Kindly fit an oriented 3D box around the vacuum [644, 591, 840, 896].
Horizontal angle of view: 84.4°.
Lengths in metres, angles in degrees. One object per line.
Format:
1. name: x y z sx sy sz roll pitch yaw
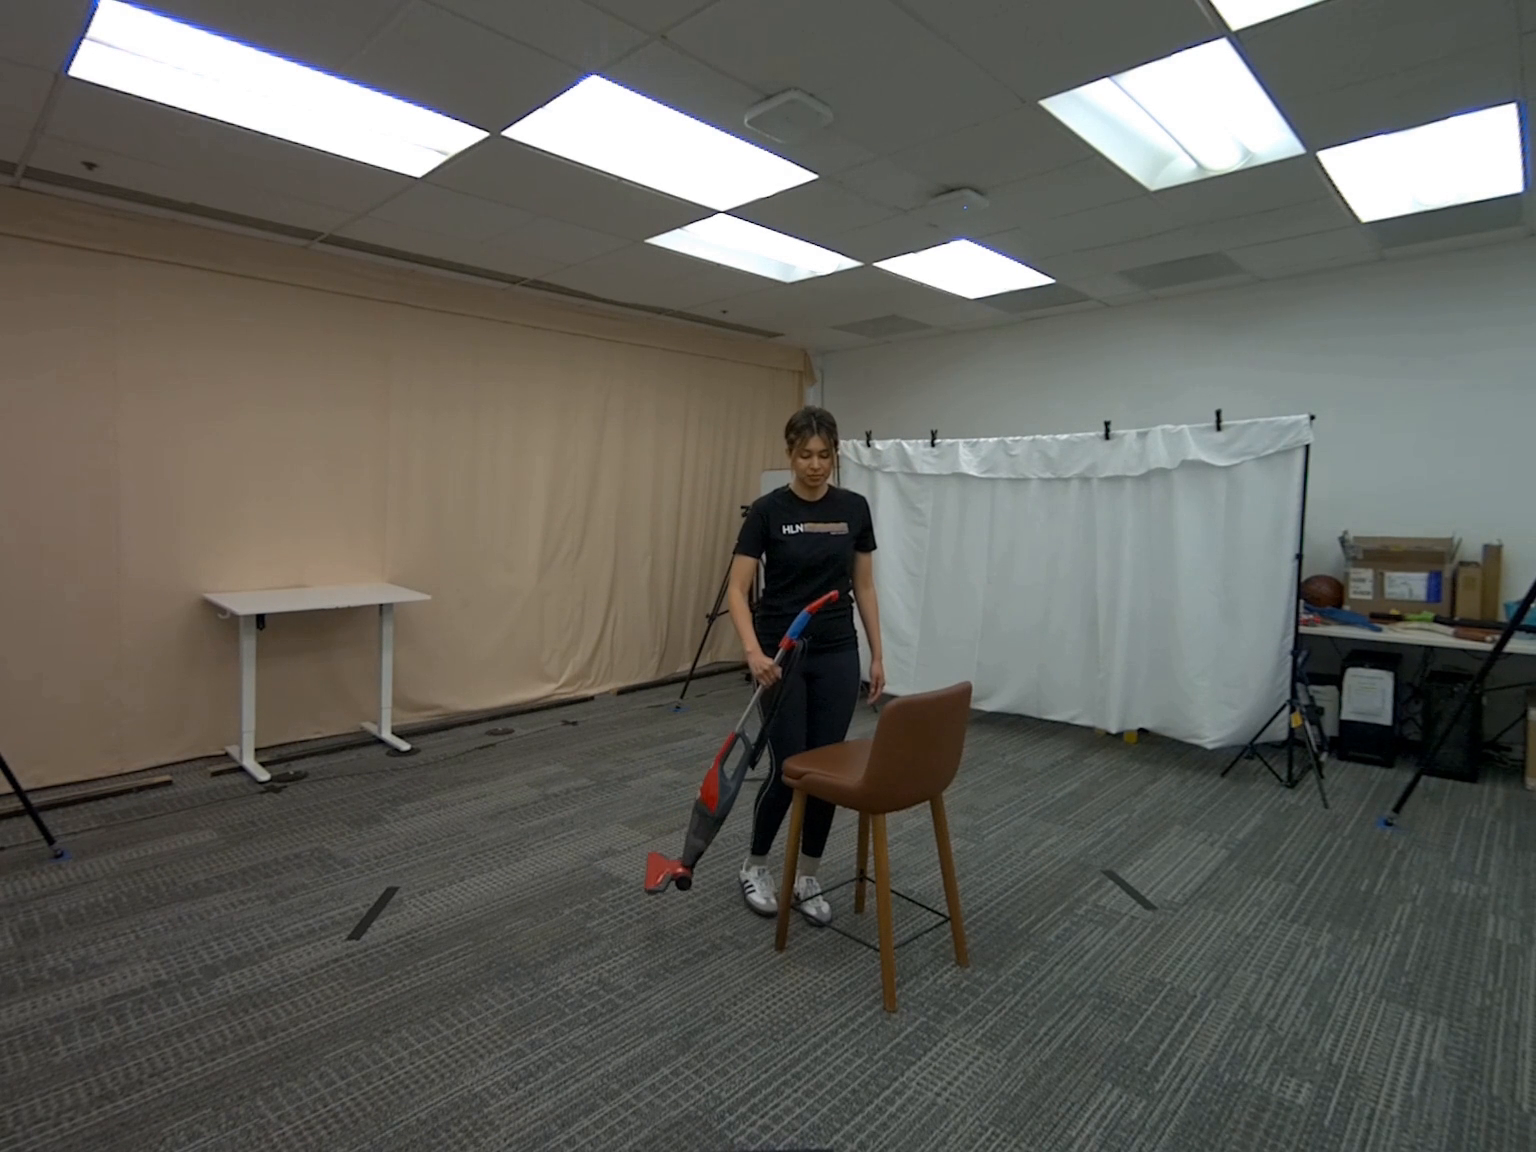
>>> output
1. vacuum: -0.060 0.510 2.641 0.143 1.049 0.254 30 4 -5
